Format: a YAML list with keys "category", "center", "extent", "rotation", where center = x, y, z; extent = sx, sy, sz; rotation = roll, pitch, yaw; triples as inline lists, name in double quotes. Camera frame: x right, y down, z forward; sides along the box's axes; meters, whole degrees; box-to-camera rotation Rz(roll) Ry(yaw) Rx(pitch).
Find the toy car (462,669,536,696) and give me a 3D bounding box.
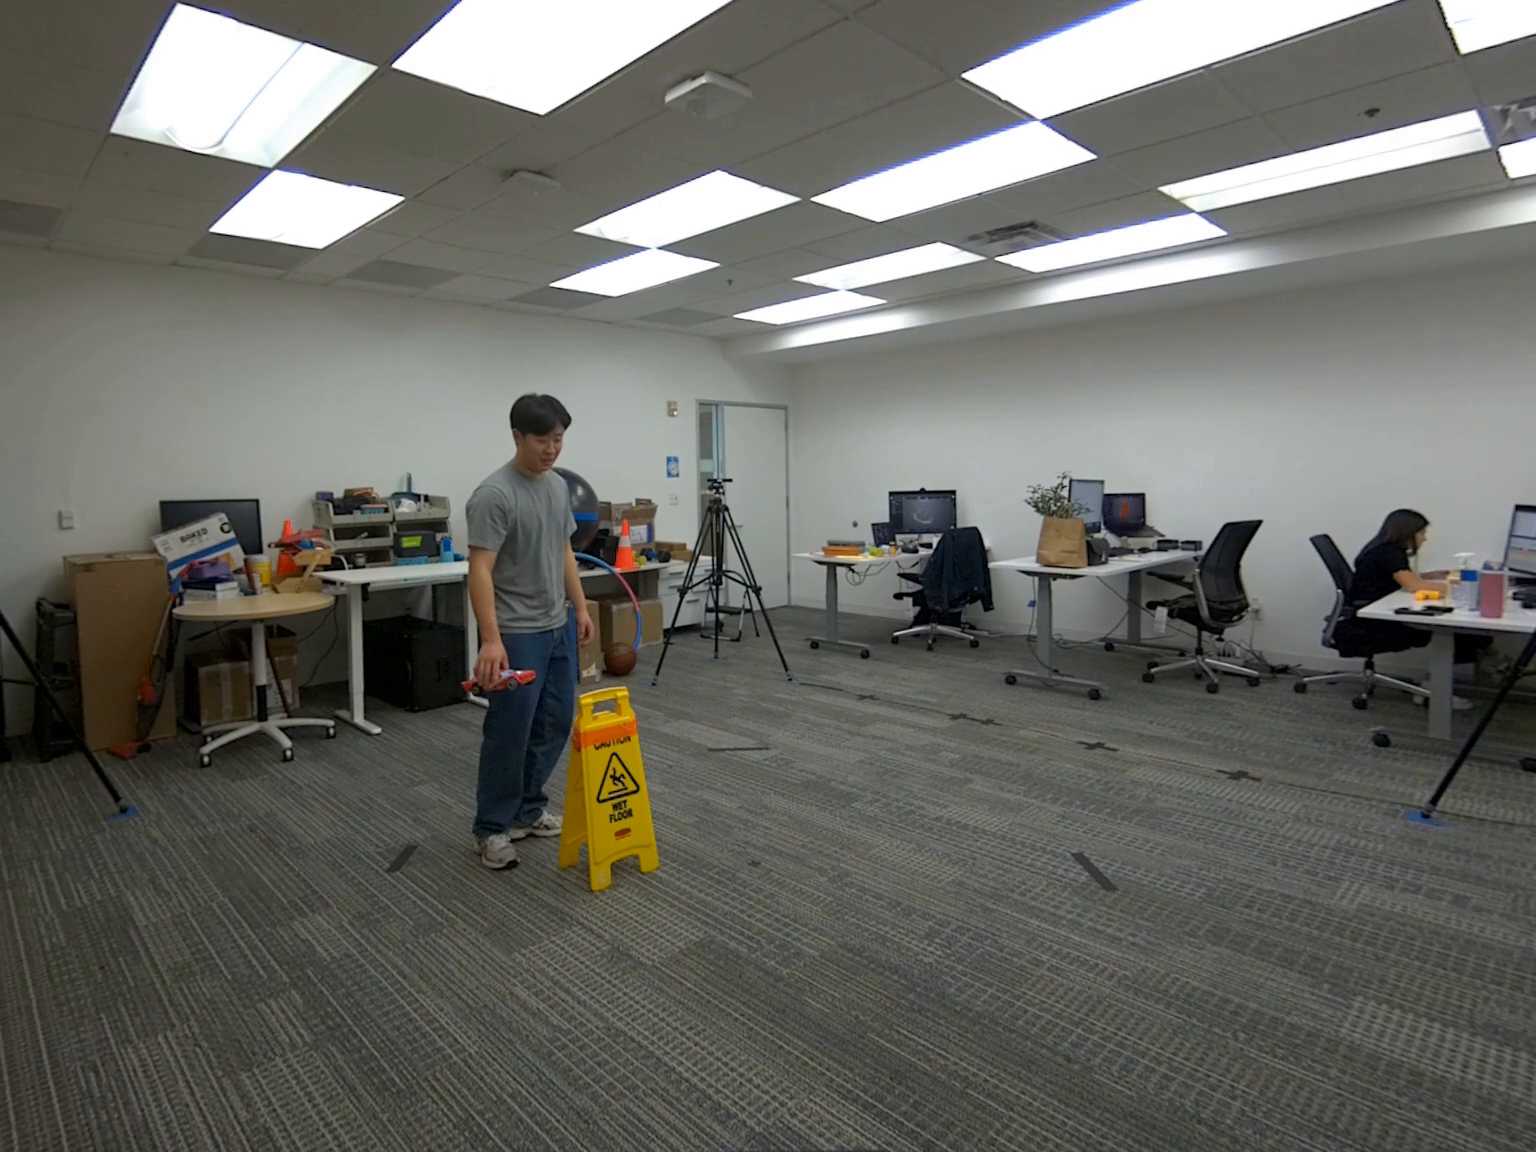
- category: "toy car"
  center: [-0.934, 0.373, 2.925]
  extent: [0.259, 0.083, 0.128]
  rotation: [0, 4, 20]
